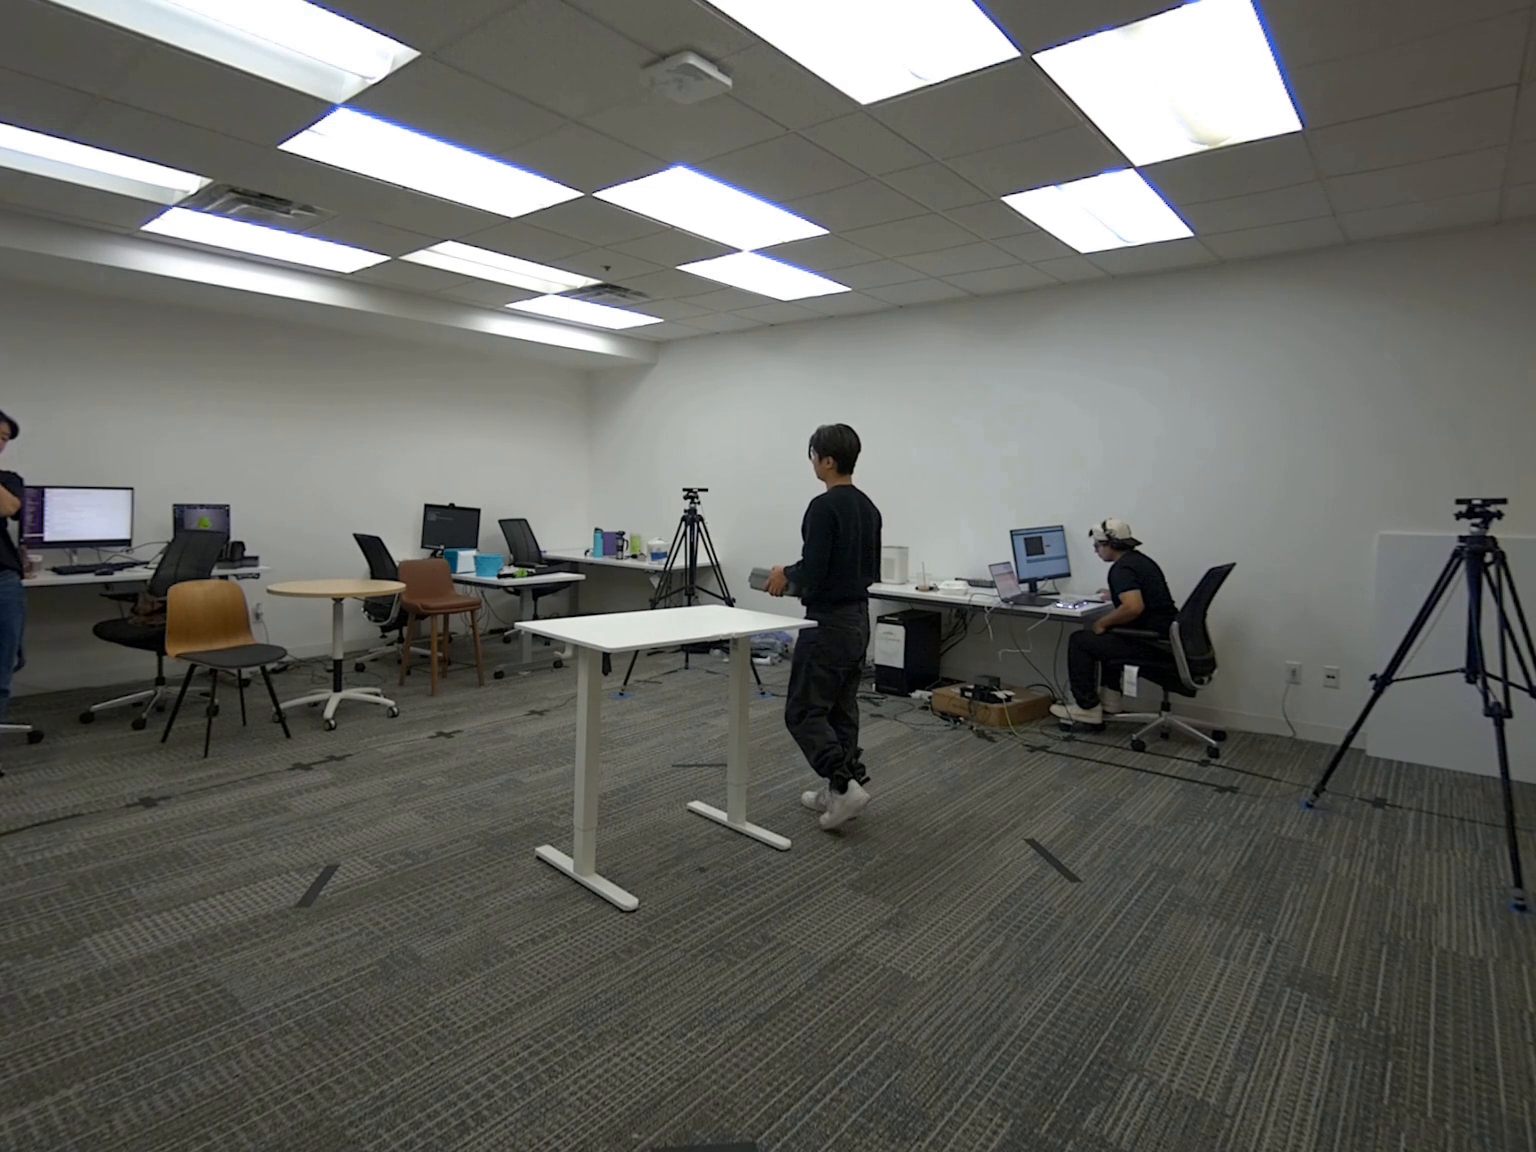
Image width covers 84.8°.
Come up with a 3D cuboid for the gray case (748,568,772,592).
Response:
[{"bbox_3d":[0.080,0.025,3.855,0.270,0.104,0.248,10,1,35],"label":"gray case"}]
